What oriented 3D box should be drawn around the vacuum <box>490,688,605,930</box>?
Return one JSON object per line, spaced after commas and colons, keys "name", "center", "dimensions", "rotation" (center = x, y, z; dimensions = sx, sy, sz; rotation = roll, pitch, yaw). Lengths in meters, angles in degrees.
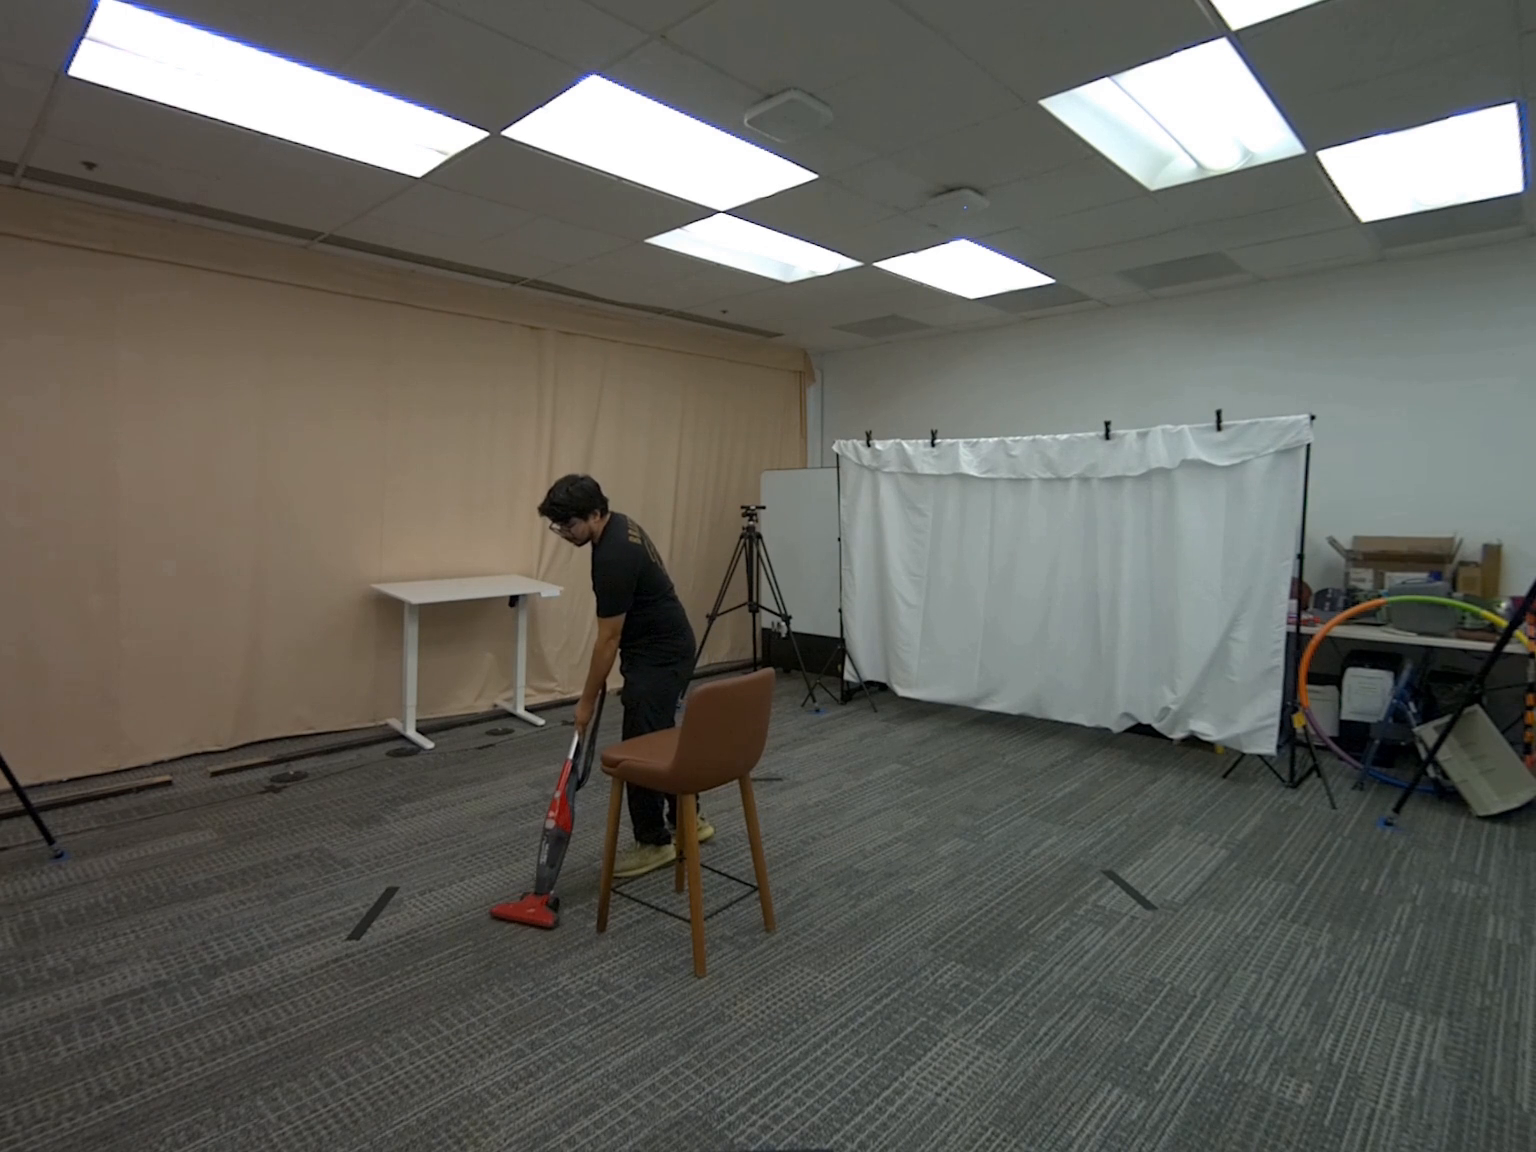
{"name": "vacuum", "center": [-0.721, 0.696, 3.111], "dimensions": [0.258, 1.060, 0.139], "rotation": [-2, -29, 22]}
